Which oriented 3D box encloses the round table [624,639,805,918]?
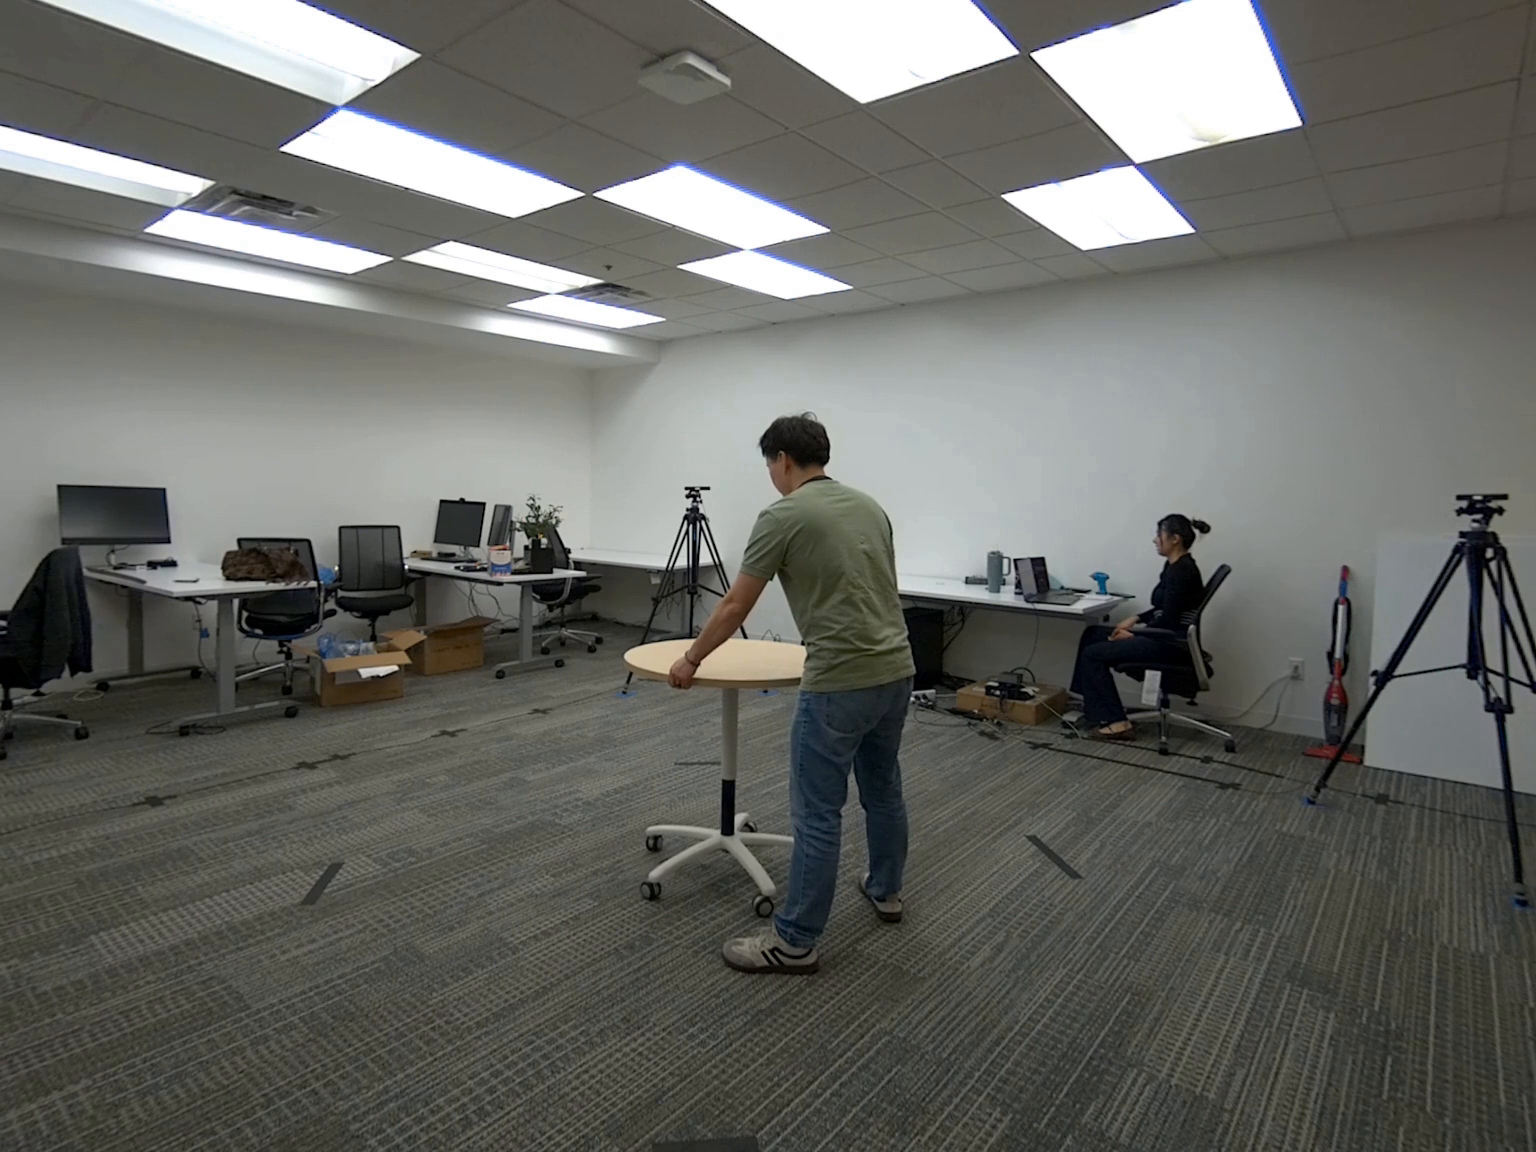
[{"bbox_3d":[-0.149,0.680,3.061,0.763,0.791,0.768,1,4,-2],"label":"round table"}]
